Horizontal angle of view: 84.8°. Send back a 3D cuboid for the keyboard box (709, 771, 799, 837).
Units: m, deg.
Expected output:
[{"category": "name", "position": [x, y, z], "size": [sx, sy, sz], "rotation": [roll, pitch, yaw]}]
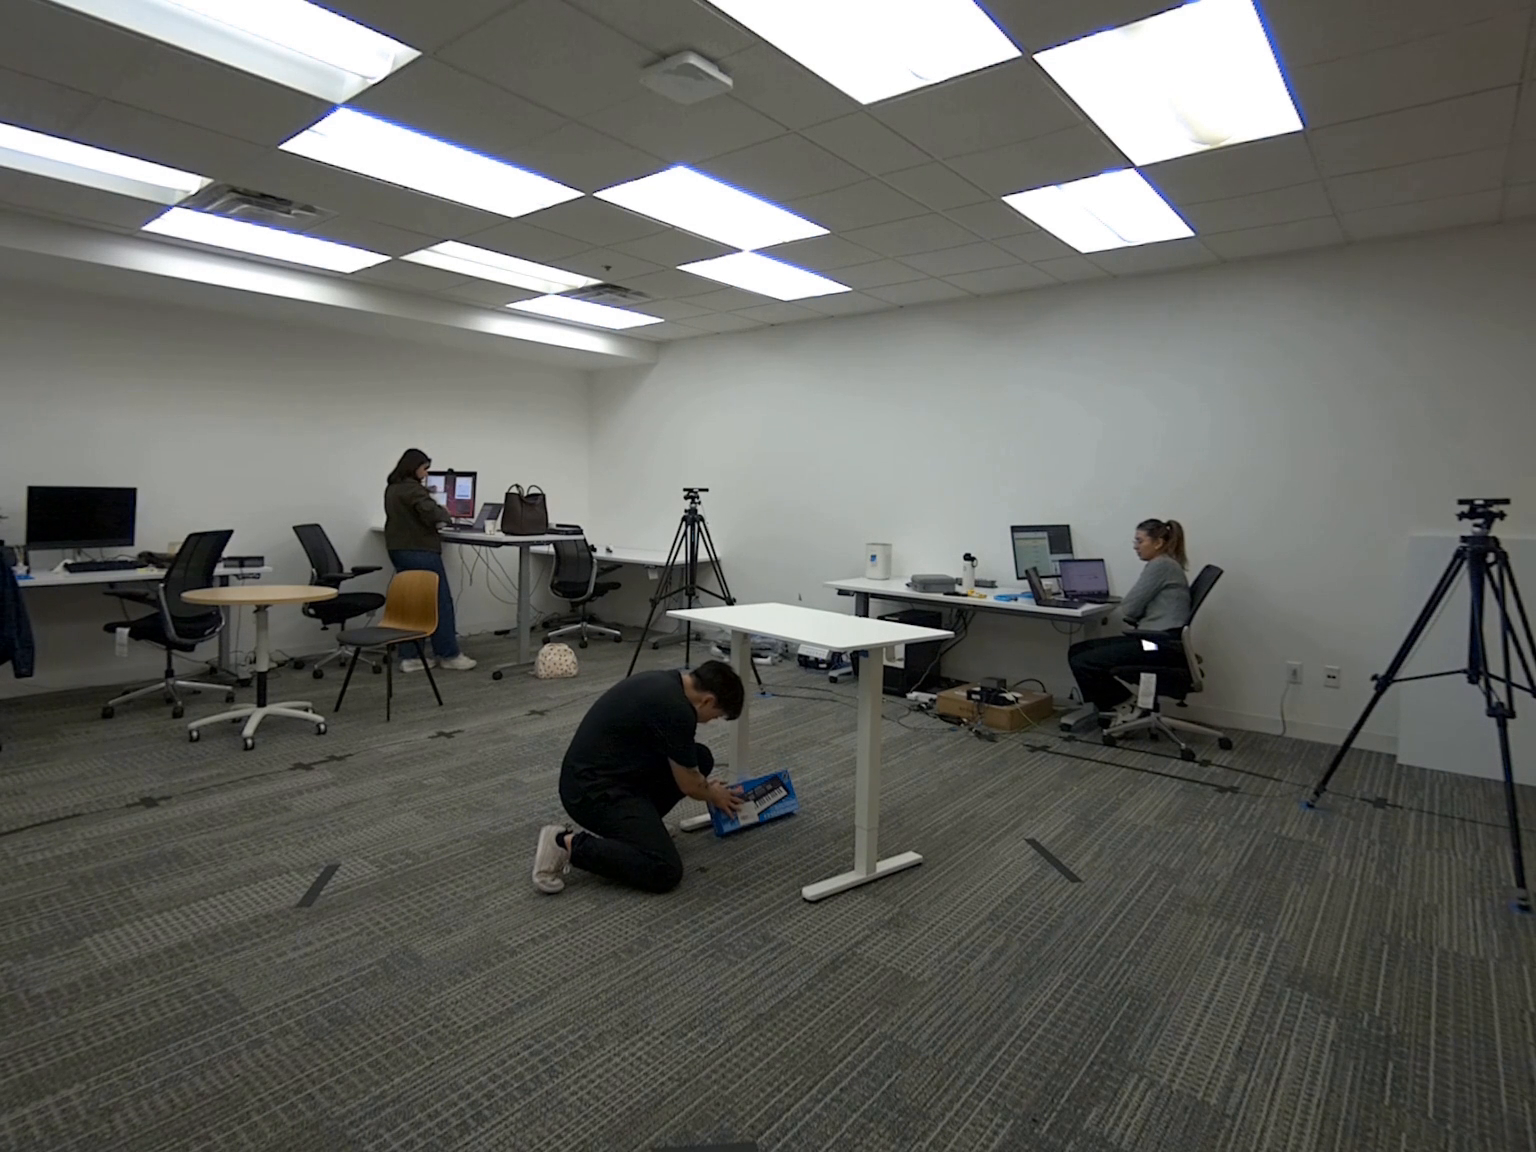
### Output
[{"category": "keyboard box", "position": [-0.072, 0.950, 3.561], "size": [0.424, 0.180, 0.059], "rotation": [-5, -22, -42]}]
